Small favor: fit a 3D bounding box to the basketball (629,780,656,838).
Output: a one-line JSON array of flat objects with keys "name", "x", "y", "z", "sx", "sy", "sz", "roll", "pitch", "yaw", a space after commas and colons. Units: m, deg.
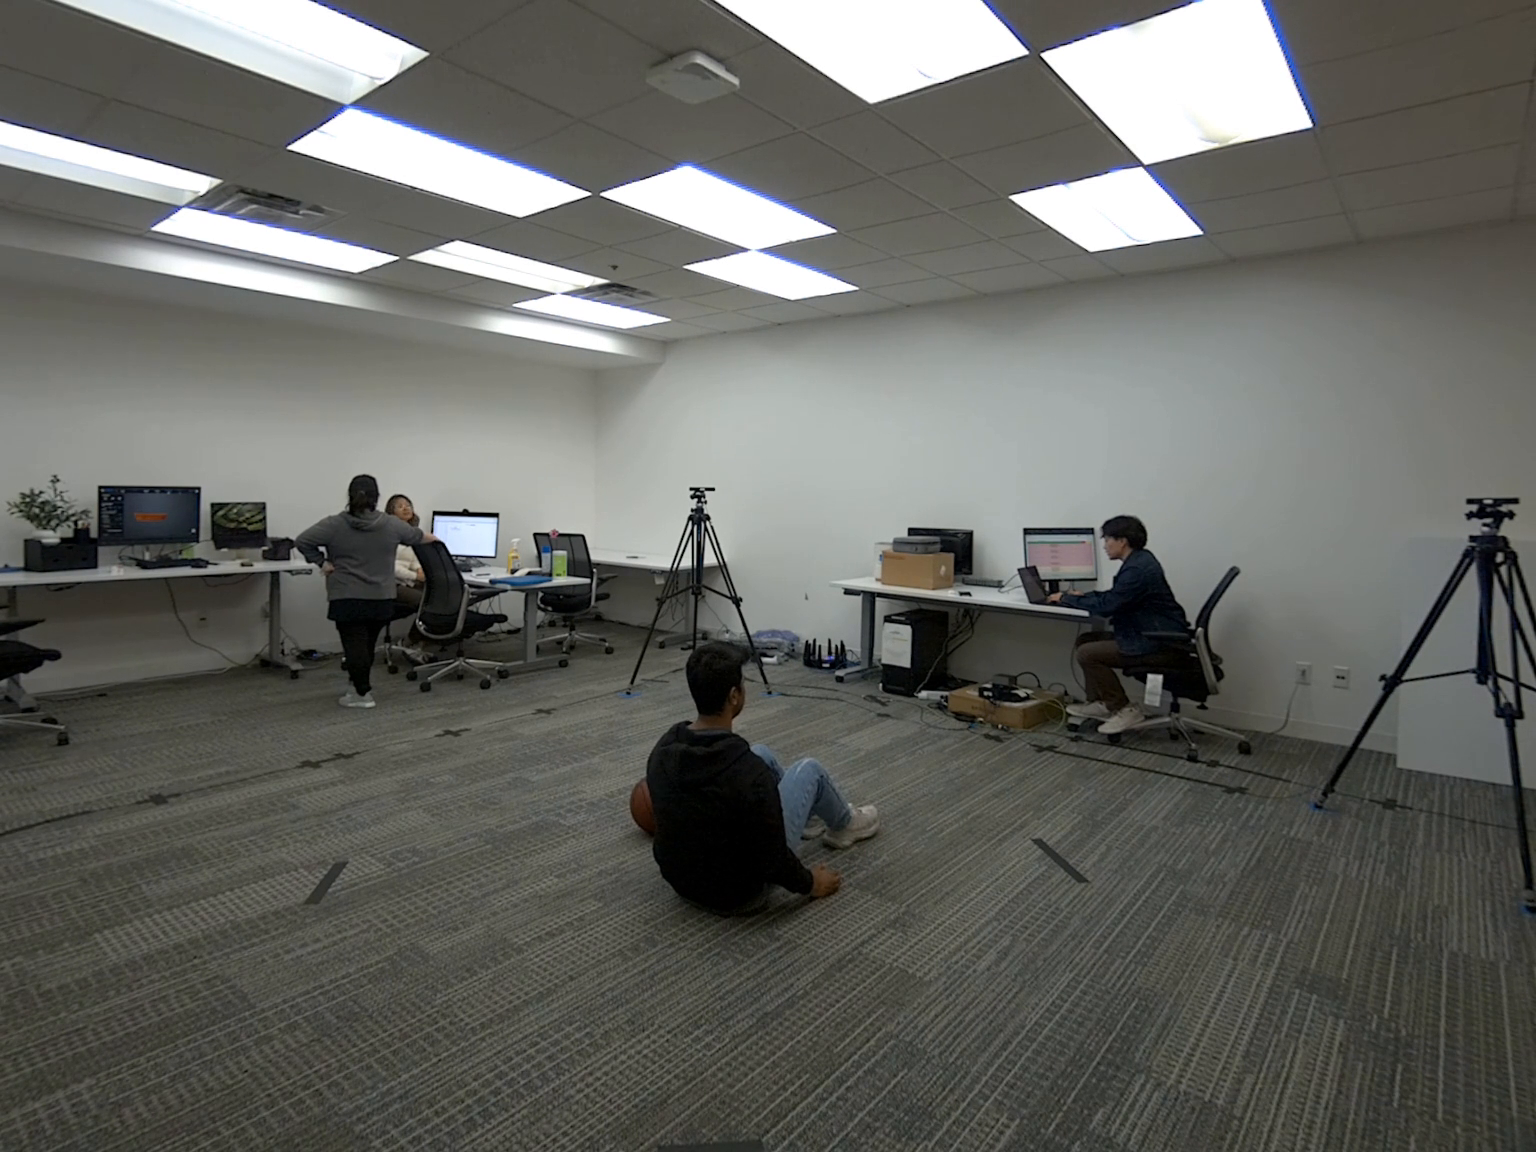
[{"name": "basketball", "x": -0.449, "y": 0.907, "z": 3.425, "sx": 0.235, "sy": 0.235, "sz": 0.237, "roll": 1, "pitch": 4, "yaw": -2}]
